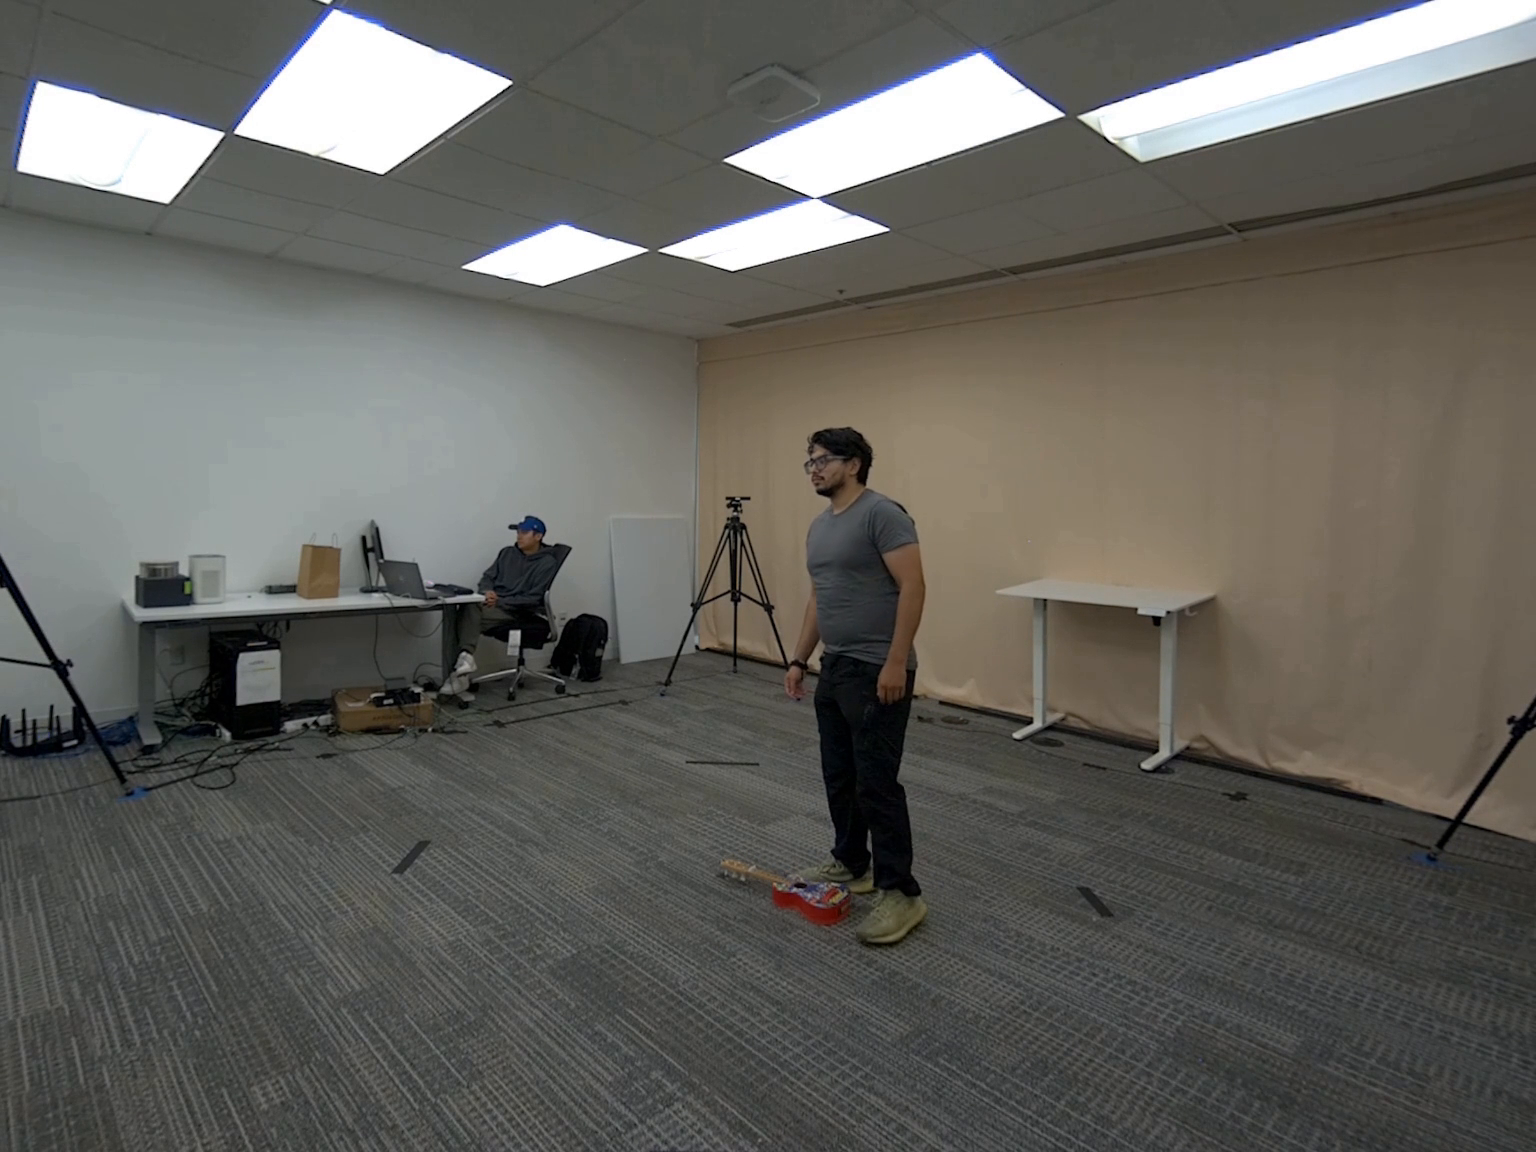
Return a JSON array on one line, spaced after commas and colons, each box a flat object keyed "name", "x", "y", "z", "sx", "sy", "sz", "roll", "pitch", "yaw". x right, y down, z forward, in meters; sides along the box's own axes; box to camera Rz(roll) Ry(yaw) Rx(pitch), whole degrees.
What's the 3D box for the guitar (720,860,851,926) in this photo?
[{"name": "guitar", "x": 0.059, "y": 1.088, "z": 2.970, "sx": 0.510, "sy": 0.070, "sz": 0.189, "roll": 6, "pitch": 7, "yaw": 41}]
